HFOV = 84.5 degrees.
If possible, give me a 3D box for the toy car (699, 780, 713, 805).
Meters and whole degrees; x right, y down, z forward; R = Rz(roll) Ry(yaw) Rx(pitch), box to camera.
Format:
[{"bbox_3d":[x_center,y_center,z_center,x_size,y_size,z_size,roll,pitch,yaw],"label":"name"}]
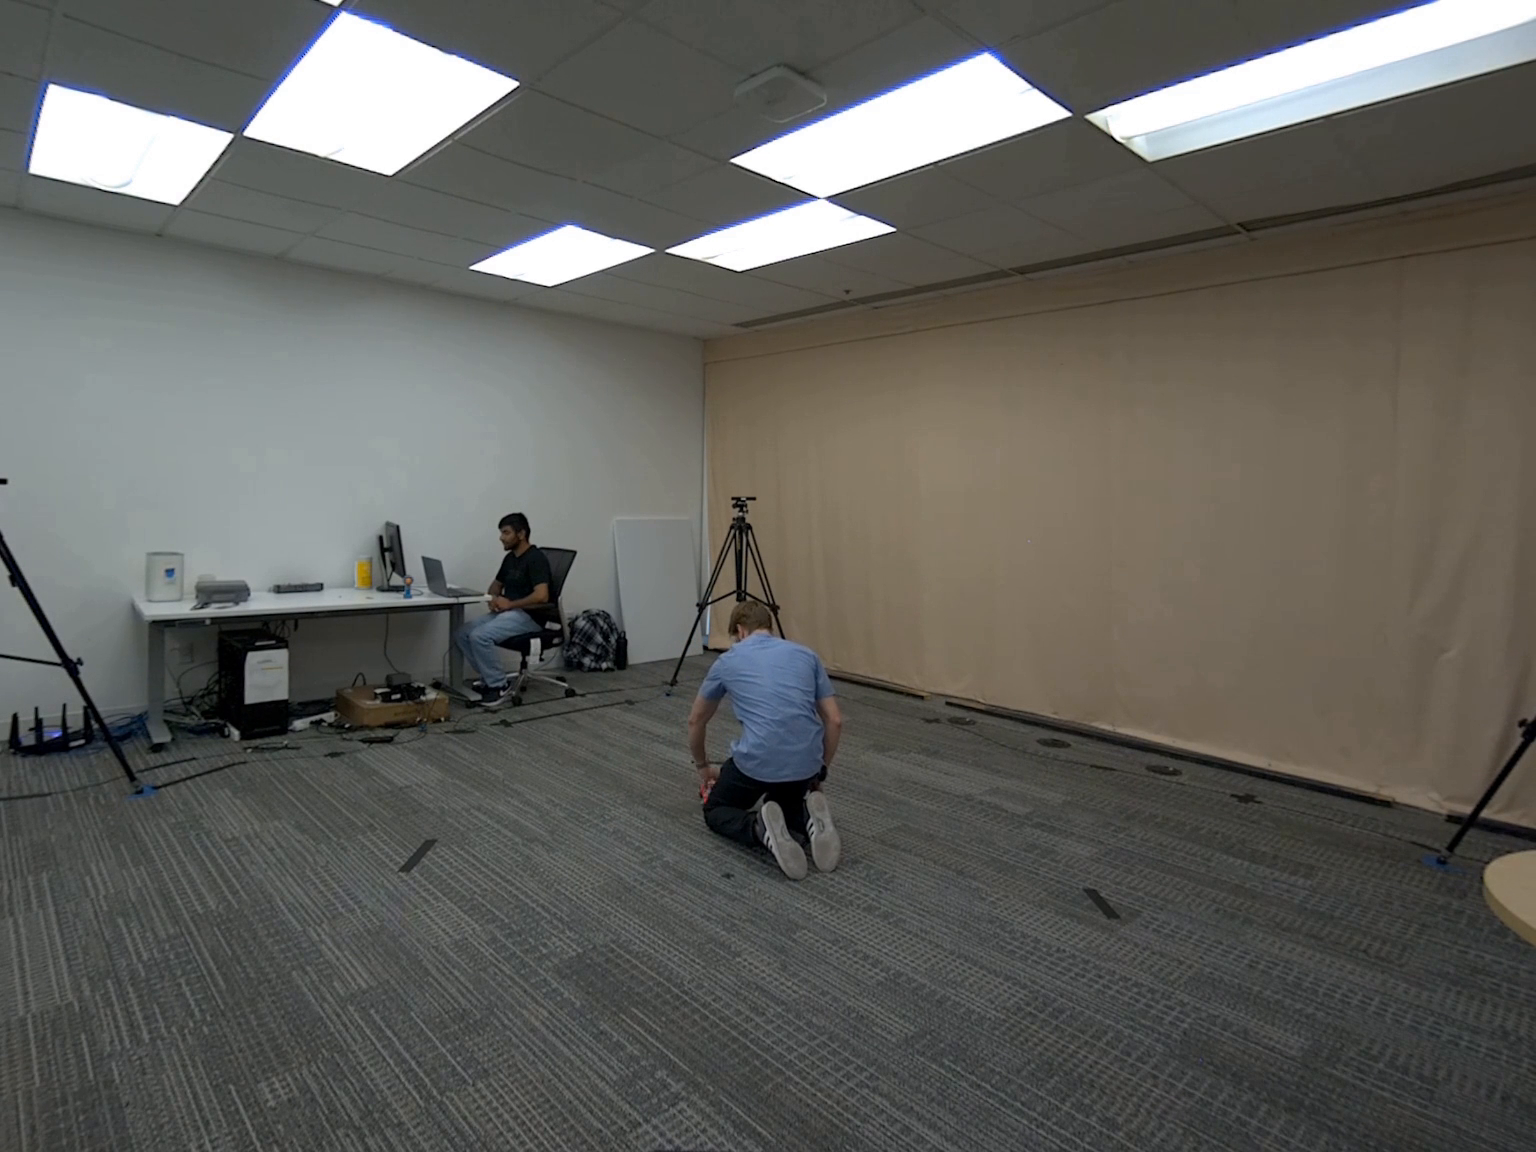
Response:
[{"bbox_3d":[-0.263,1.006,3.888,0.130,0.082,0.258,0,18,-6],"label":"toy car"}]
